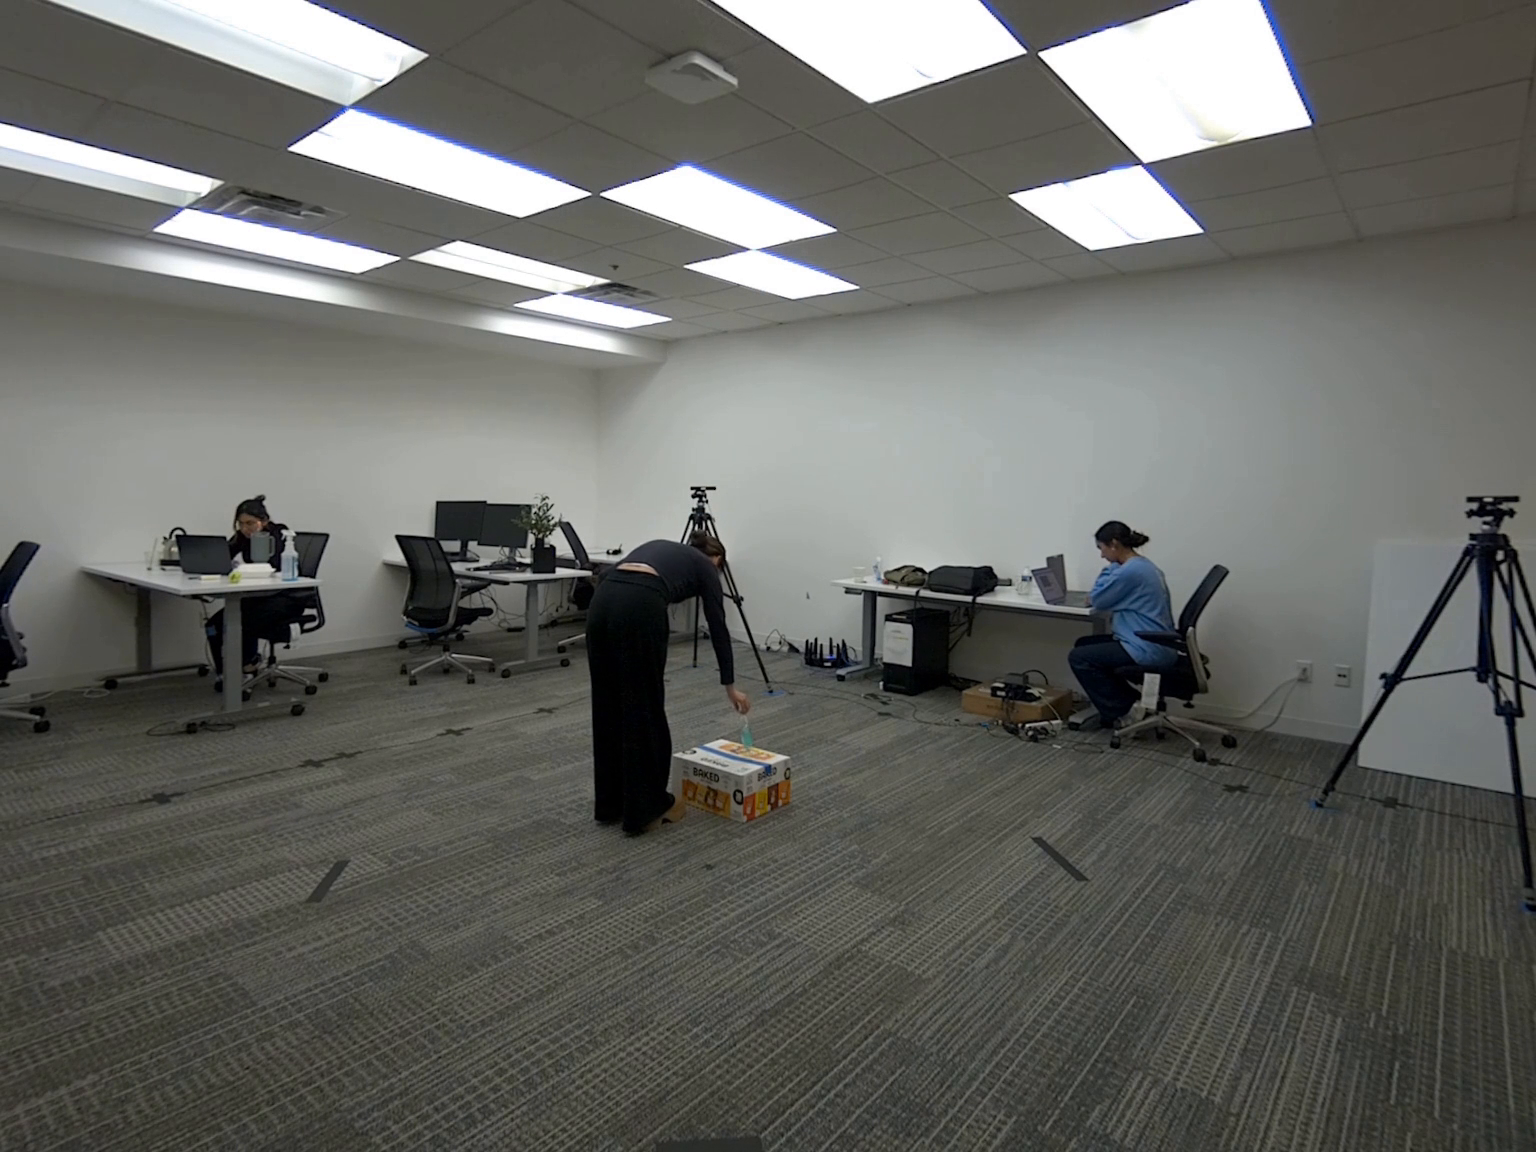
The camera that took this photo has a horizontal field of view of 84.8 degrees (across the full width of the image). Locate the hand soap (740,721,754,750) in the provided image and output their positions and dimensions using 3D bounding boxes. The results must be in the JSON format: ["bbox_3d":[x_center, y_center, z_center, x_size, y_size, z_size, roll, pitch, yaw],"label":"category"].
[{"bbox_3d":[-0.121,0.669,3.776,0.043,0.167,0.086,-5,4,-12],"label":"hand soap"}]
